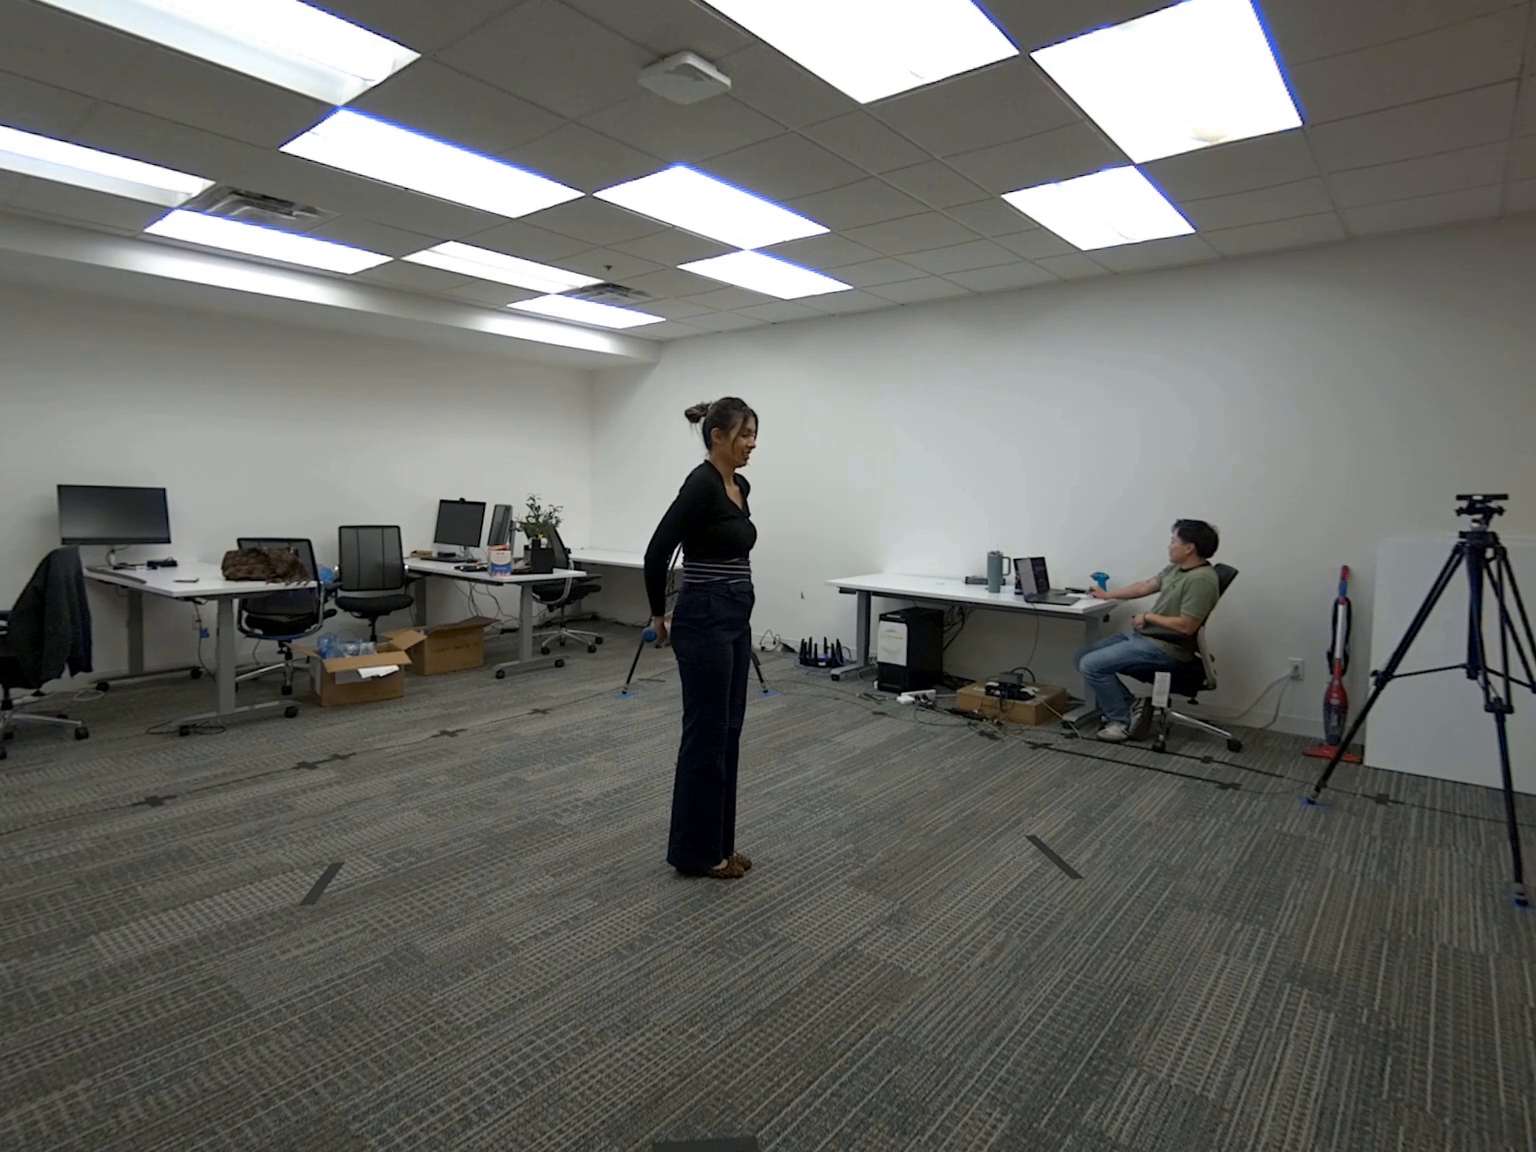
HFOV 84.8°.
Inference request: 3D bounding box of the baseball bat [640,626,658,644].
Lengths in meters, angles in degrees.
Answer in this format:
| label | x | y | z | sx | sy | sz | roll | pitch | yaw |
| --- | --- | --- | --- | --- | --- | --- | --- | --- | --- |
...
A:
| label | x | y | z | sx | sy | sz | roll | pitch | yaw |
| --- | --- | --- | --- | --- | --- | --- | --- | --- | --- |
| baseball bat | -0.425 | 0.222 | 3.140 | 0.089 | 0.089 | 0.542 | 1 | -2 | -3 |
